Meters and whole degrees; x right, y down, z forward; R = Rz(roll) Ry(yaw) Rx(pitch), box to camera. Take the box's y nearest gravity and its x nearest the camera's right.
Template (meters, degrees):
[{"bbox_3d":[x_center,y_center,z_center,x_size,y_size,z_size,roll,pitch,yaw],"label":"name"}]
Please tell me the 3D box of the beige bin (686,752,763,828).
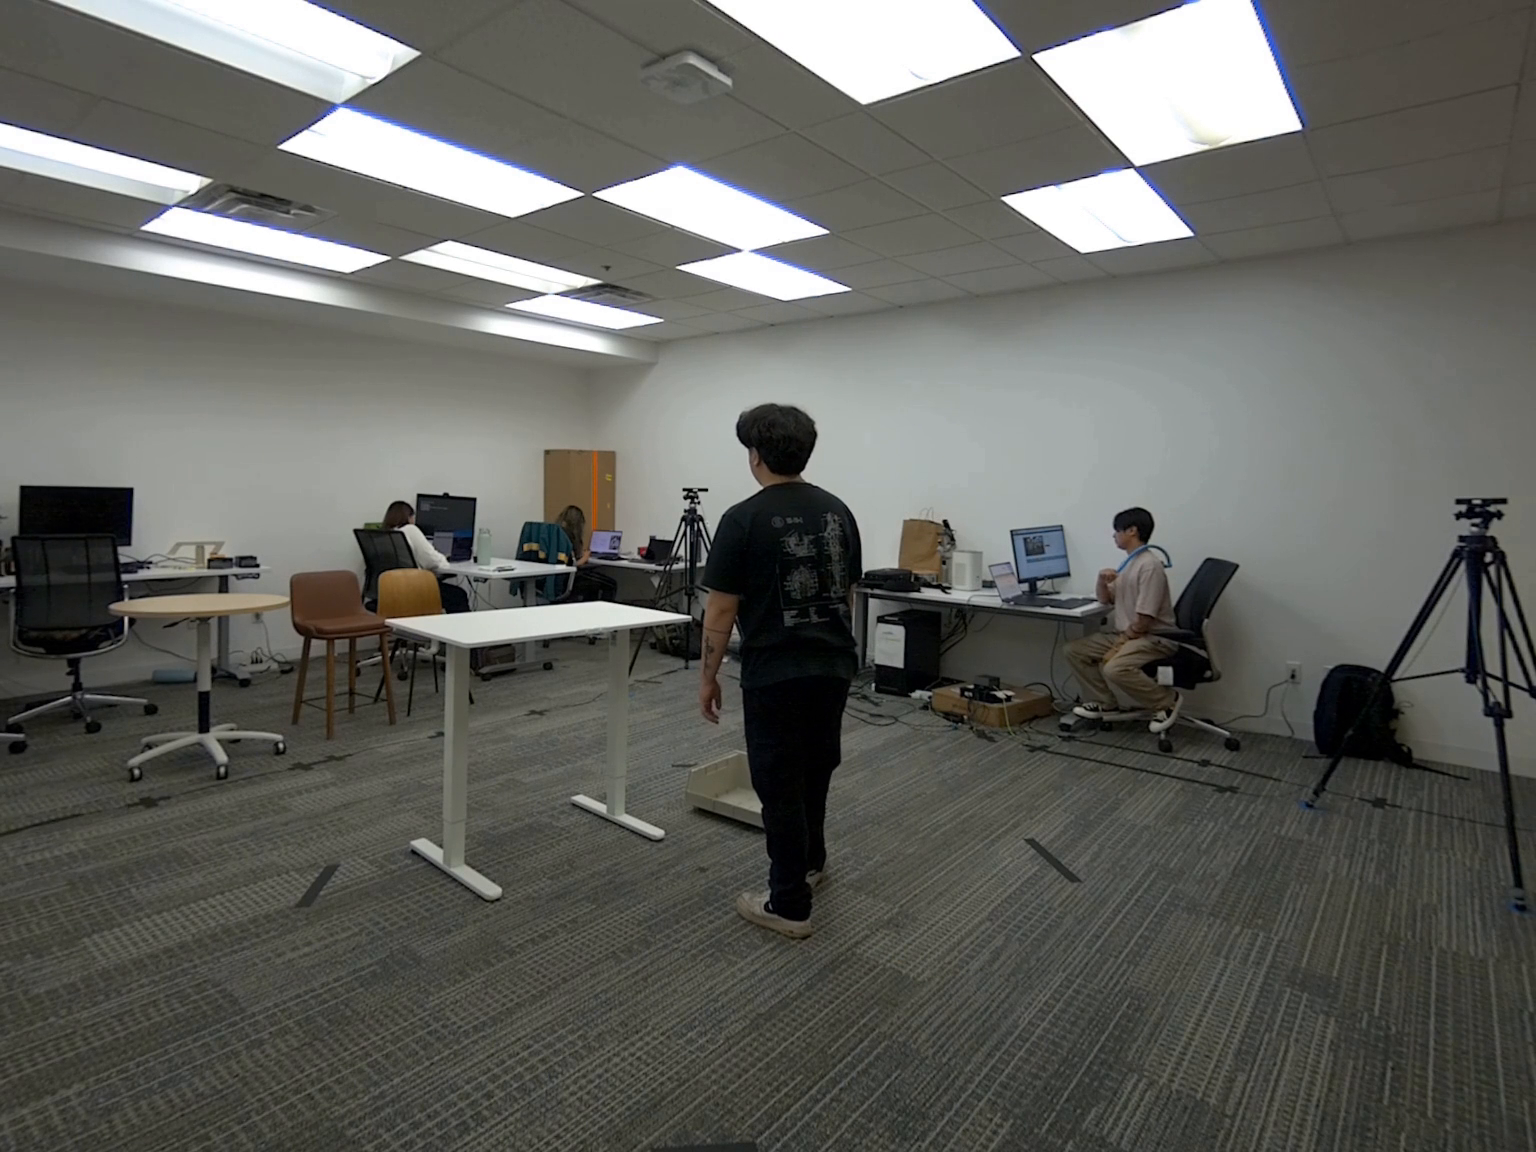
[{"bbox_3d":[-0.089,0.927,3.689,0.436,0.188,0.366,3,5,36],"label":"beige bin"}]
